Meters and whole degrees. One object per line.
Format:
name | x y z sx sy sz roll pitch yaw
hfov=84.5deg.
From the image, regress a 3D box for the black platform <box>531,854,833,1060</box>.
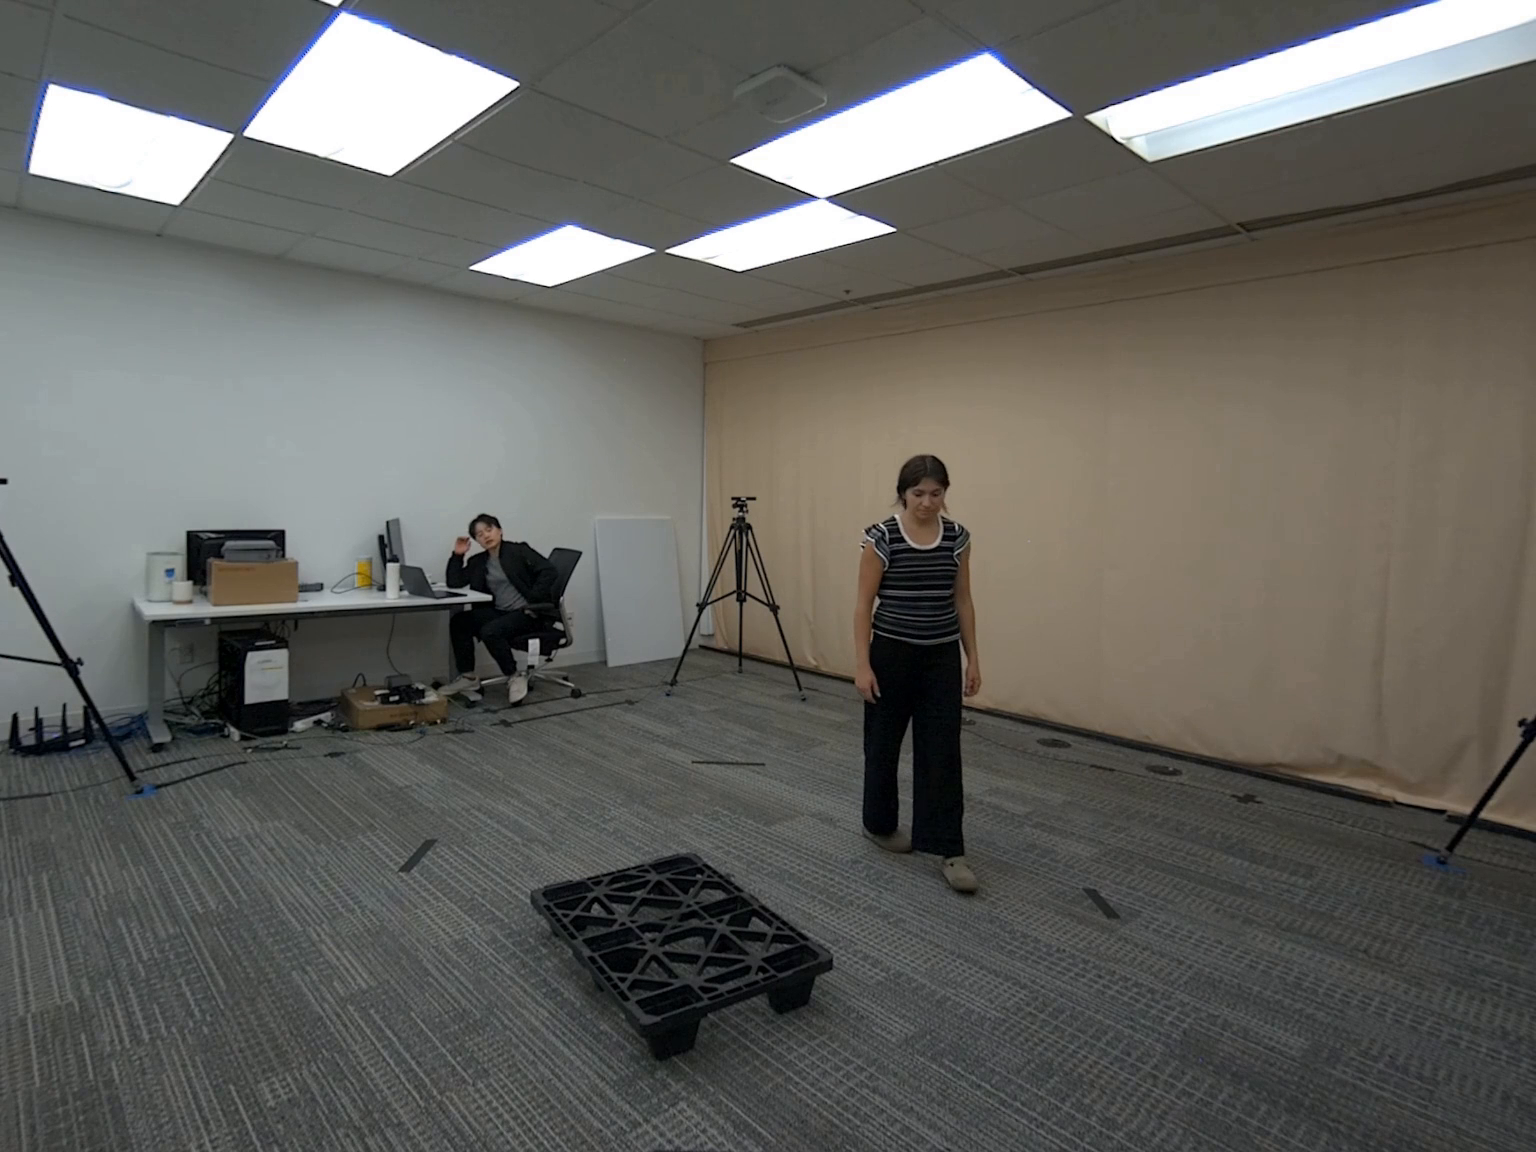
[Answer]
black platform | -0.296 1.094 2.493 0.592 0.143 0.825 -3 7 -34
